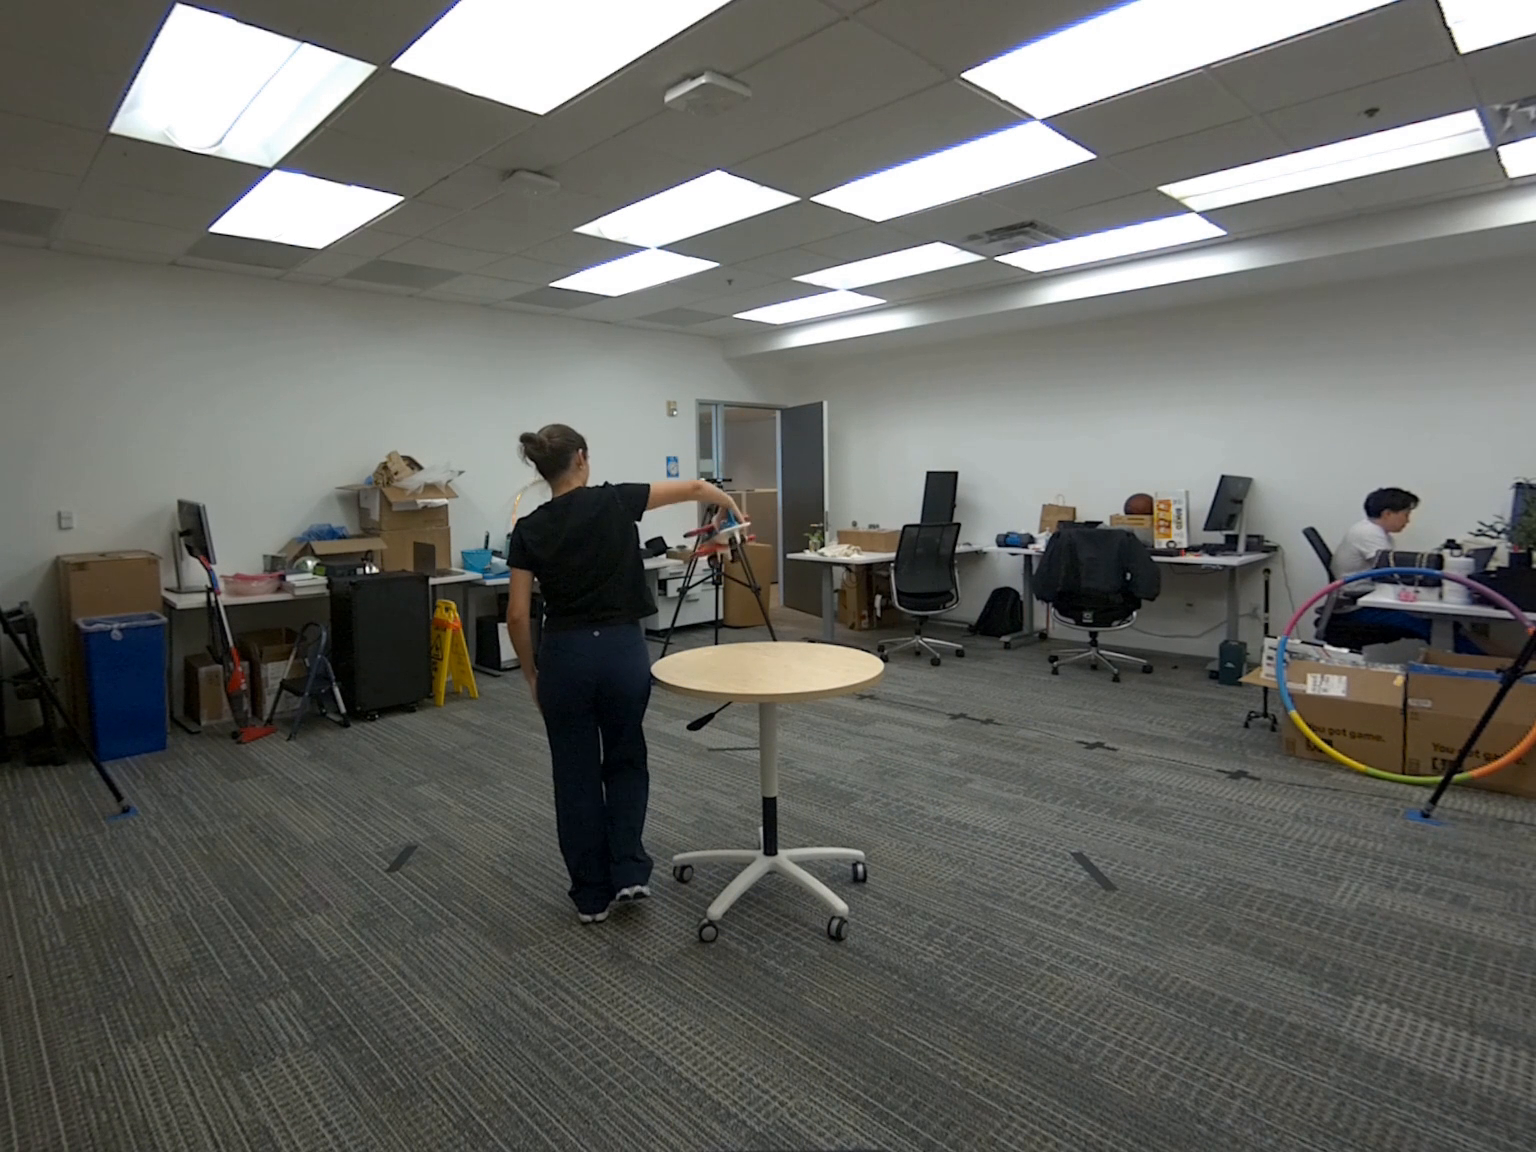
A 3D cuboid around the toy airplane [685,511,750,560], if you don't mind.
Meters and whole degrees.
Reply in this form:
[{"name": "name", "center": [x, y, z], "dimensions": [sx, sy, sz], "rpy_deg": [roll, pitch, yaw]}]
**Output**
[{"name": "toy airplane", "center": [-0.146, -0.144, 3.067], "dimensions": [0.244, 0.160, 0.261], "rpy_deg": [-4, -25, -49]}]
